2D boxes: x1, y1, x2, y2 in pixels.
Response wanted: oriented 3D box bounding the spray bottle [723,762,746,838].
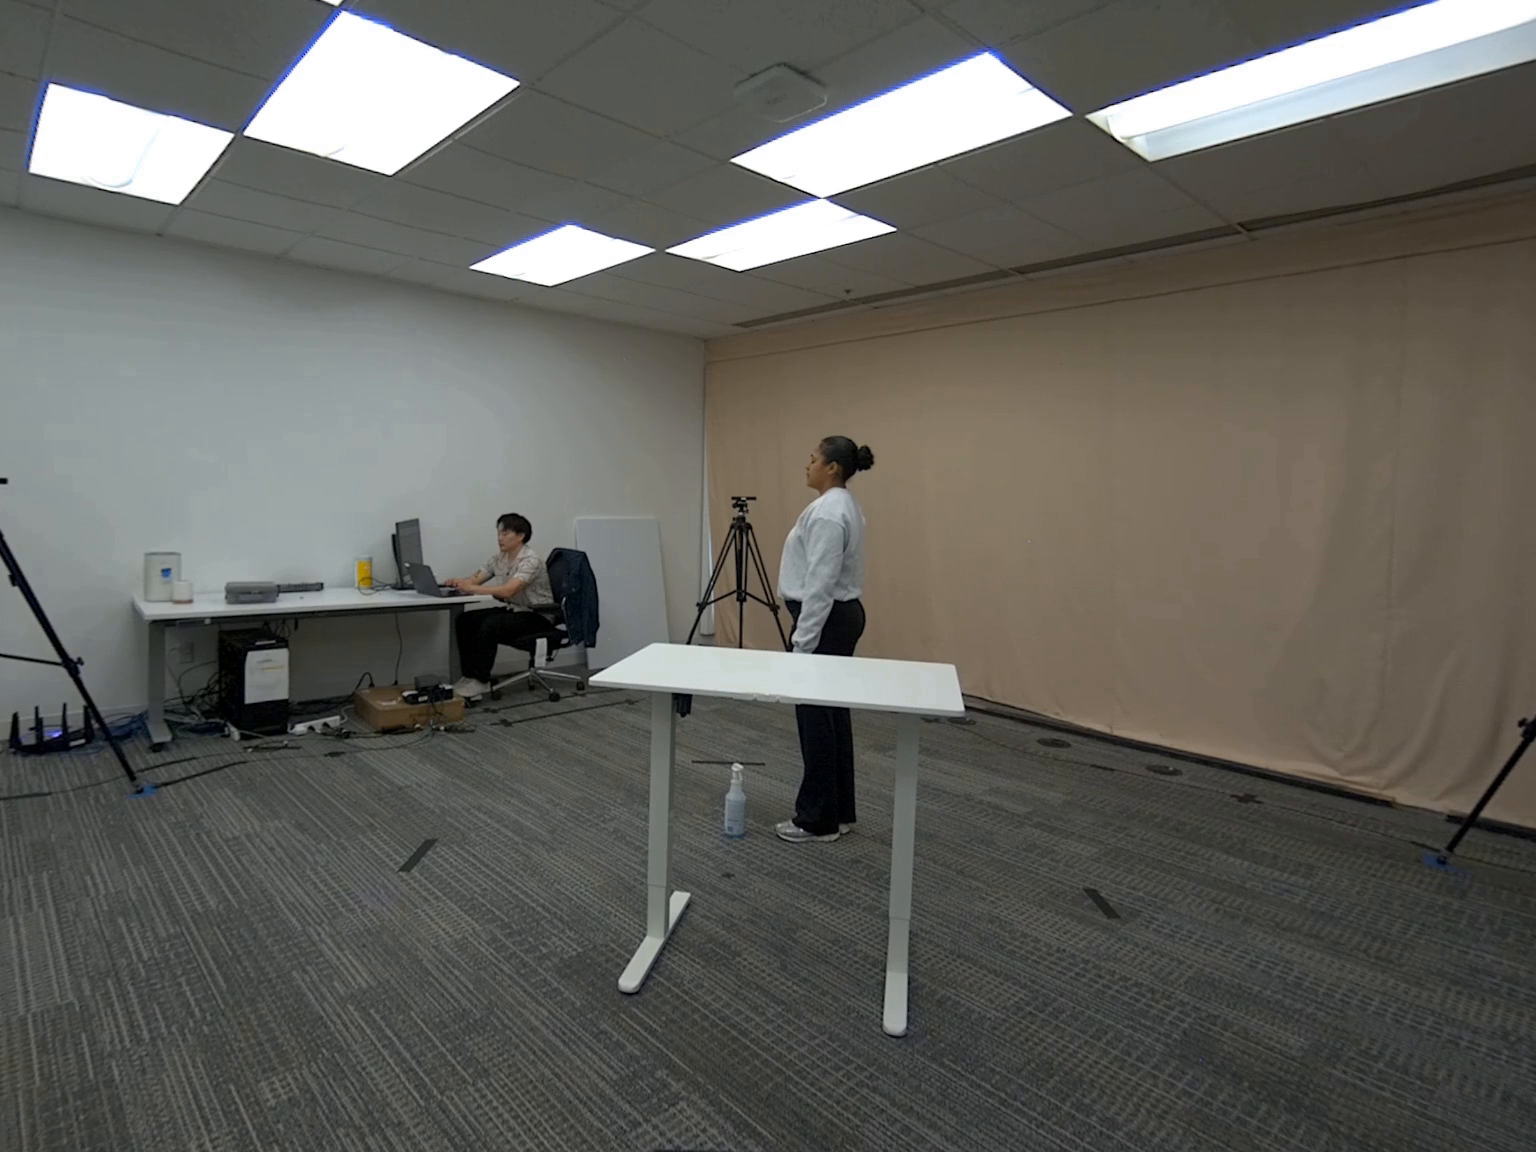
[{"bbox_3d":[-0.128,0.919,3.487,0.087,0.296,0.090,3,4,0],"label":"spray bottle"}]
